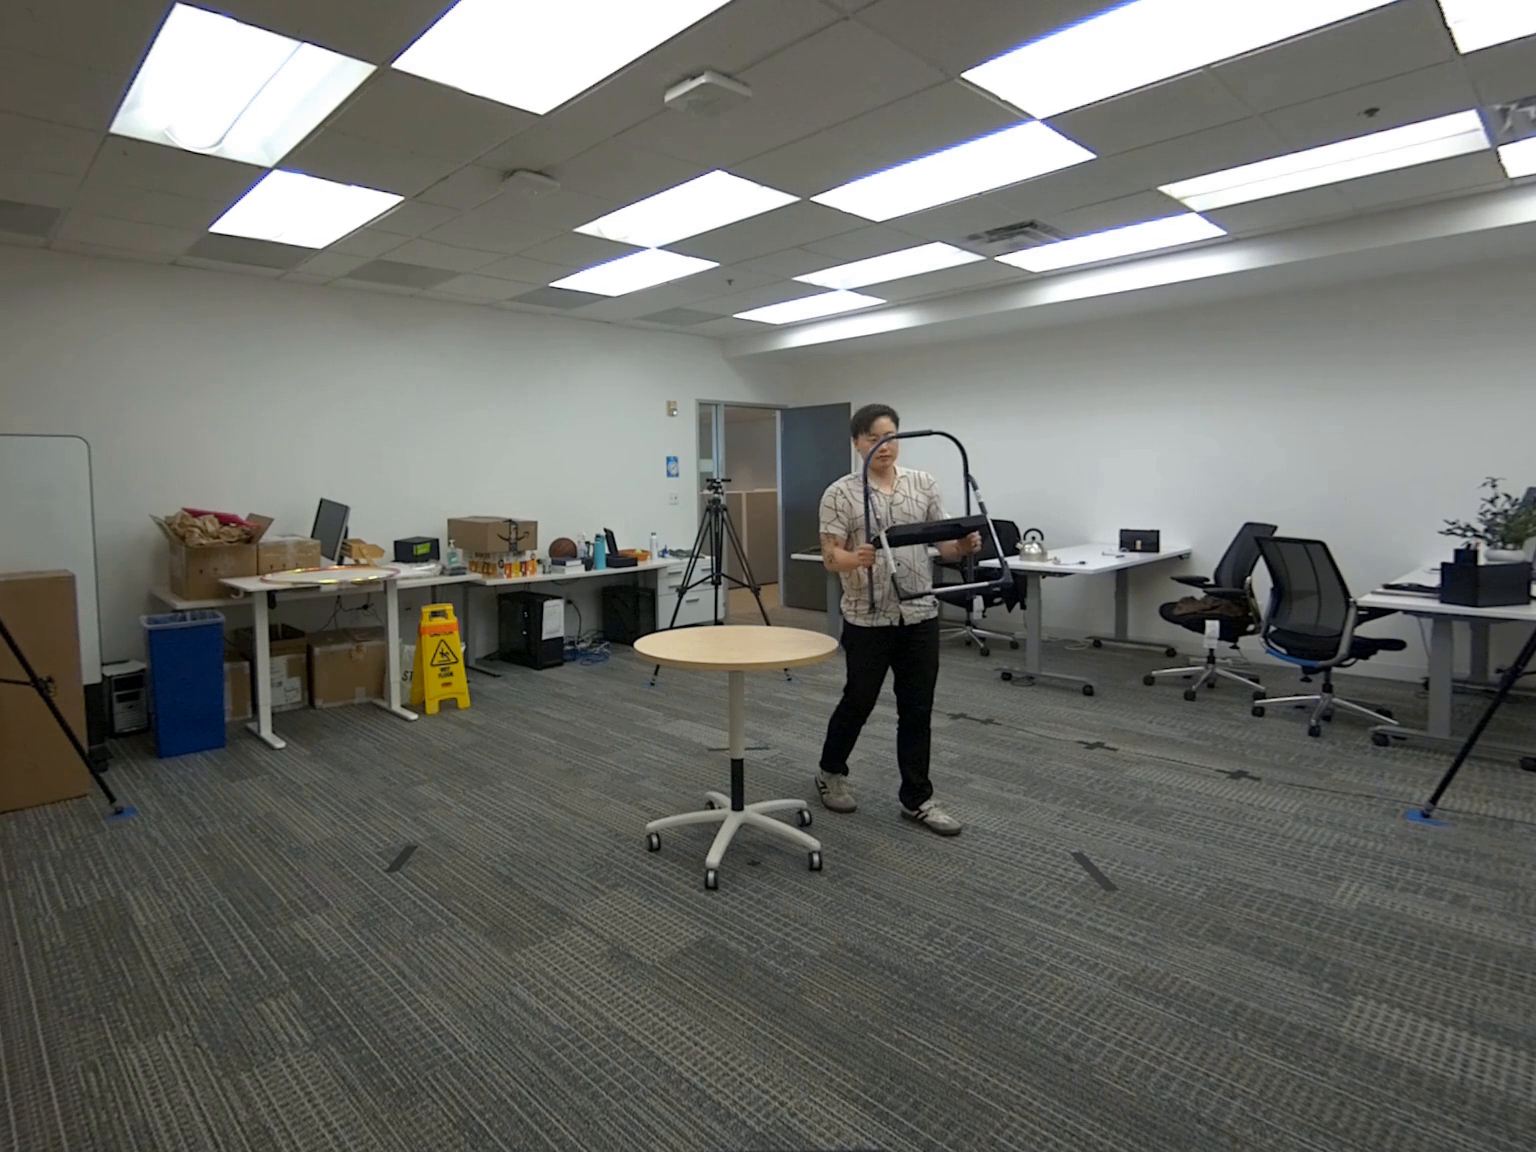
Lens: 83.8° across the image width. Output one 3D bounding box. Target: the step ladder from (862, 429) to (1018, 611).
[{"bbox_3d":[0.559,-0.210,3.101,0.426,0.612,0.349,-8,-9,-12],"label":"step ladder"}]
